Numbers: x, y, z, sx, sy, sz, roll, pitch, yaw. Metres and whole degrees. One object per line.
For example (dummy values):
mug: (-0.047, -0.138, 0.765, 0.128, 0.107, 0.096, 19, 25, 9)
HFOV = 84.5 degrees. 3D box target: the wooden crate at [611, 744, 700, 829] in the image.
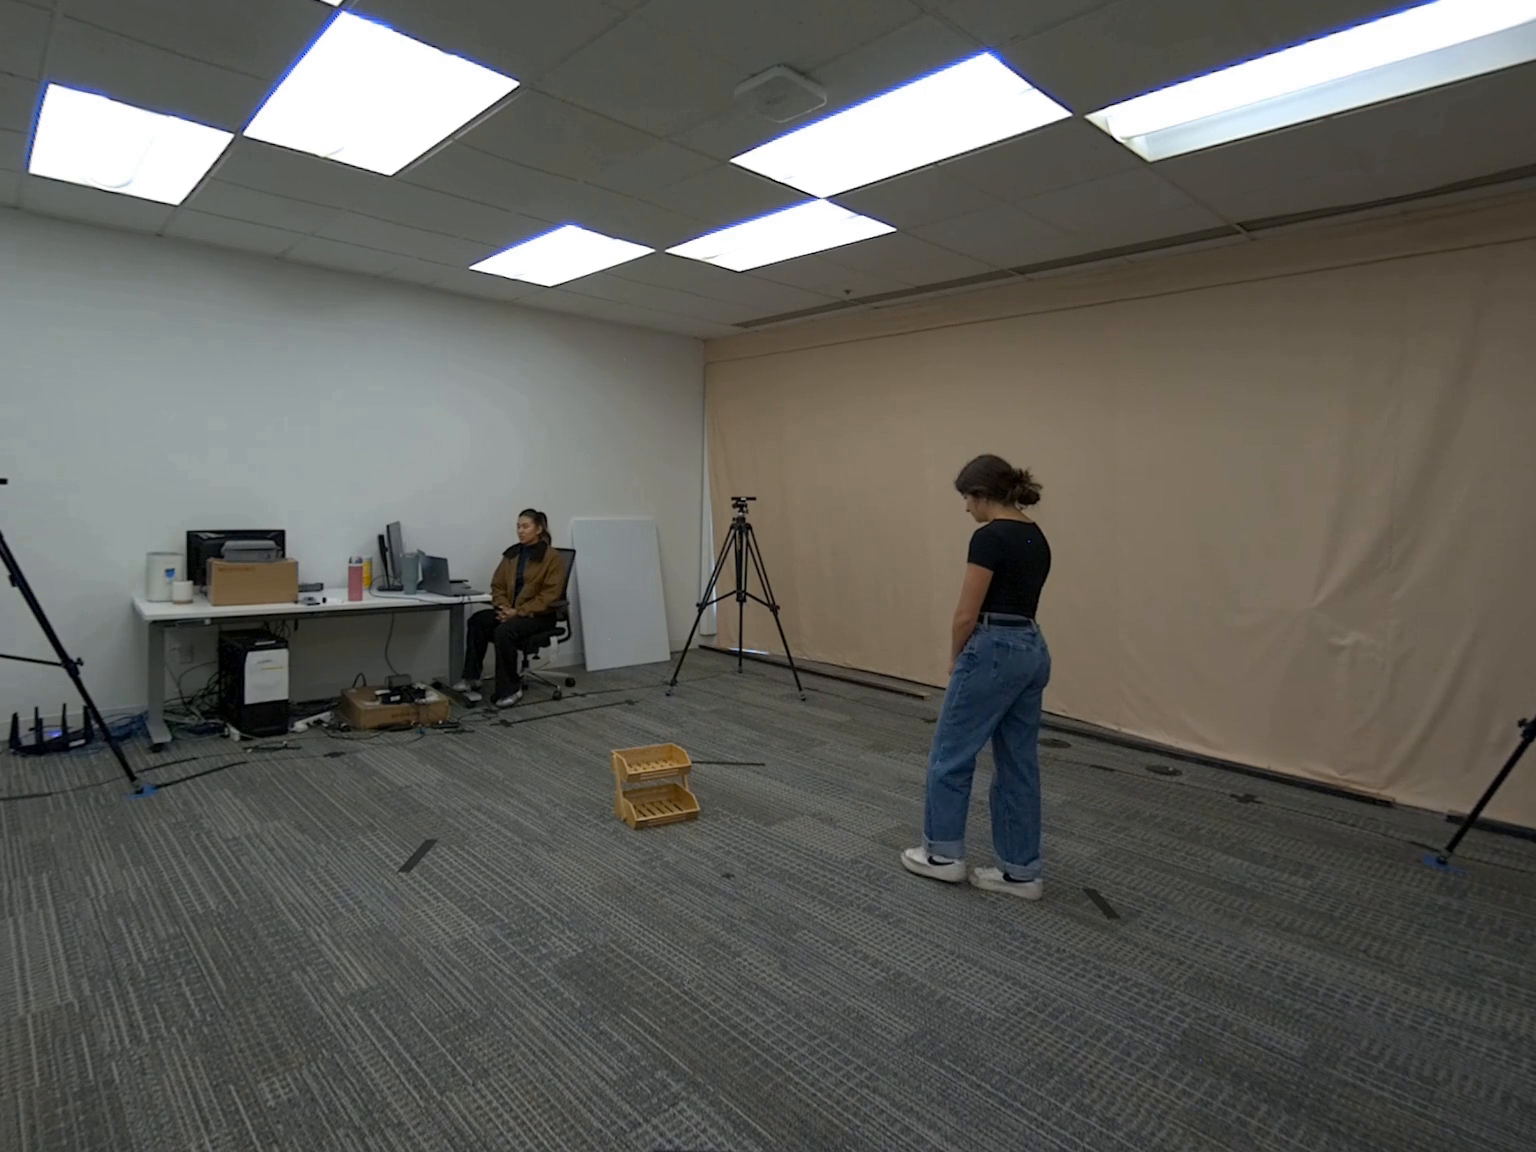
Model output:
wooden crate: (-0.507, 0.913, 3.698, 0.318, 0.273, 0.309, -1, 4, -30)
